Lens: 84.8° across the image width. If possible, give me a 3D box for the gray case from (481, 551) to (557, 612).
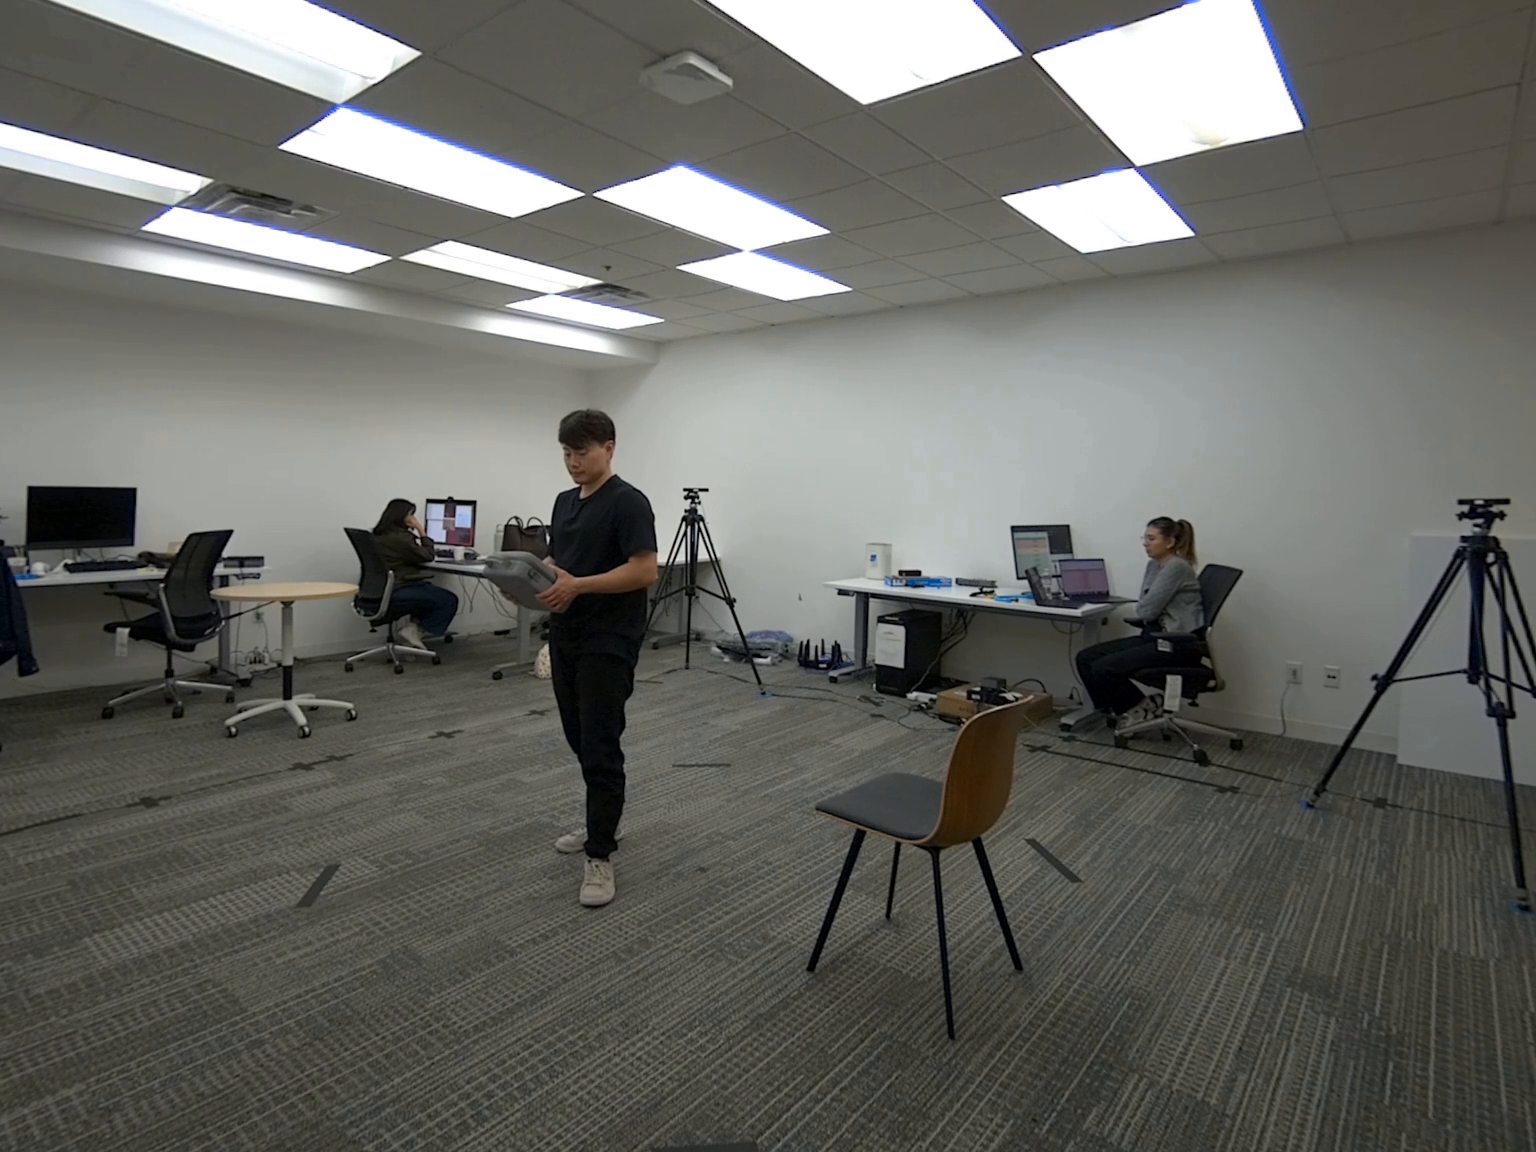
[{"bbox_3d":[-0.861,0.007,2.953,0.265,0.105,0.250,-1,-31,43],"label":"gray case"}]
